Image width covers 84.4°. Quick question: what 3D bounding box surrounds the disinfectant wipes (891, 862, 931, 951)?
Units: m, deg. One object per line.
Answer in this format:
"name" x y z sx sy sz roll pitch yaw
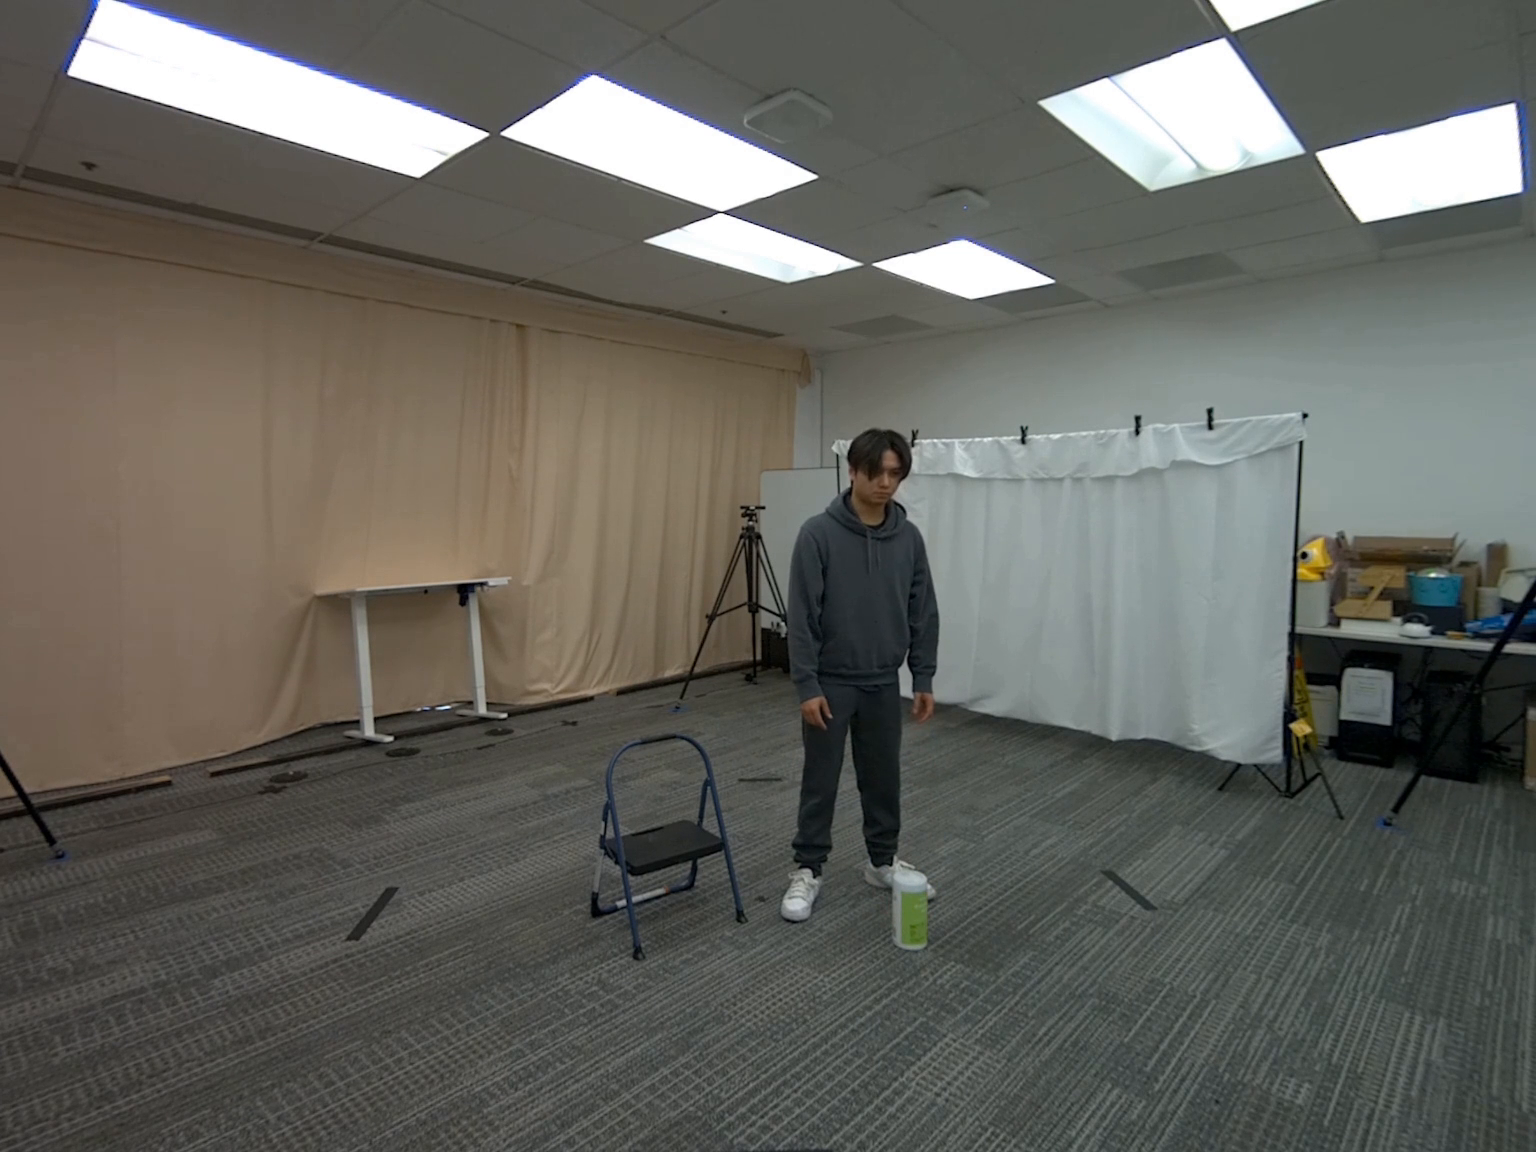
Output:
"disinfectant wipes" 0.452 1.058 2.676 0.117 0.217 0.118 2 4 -2
